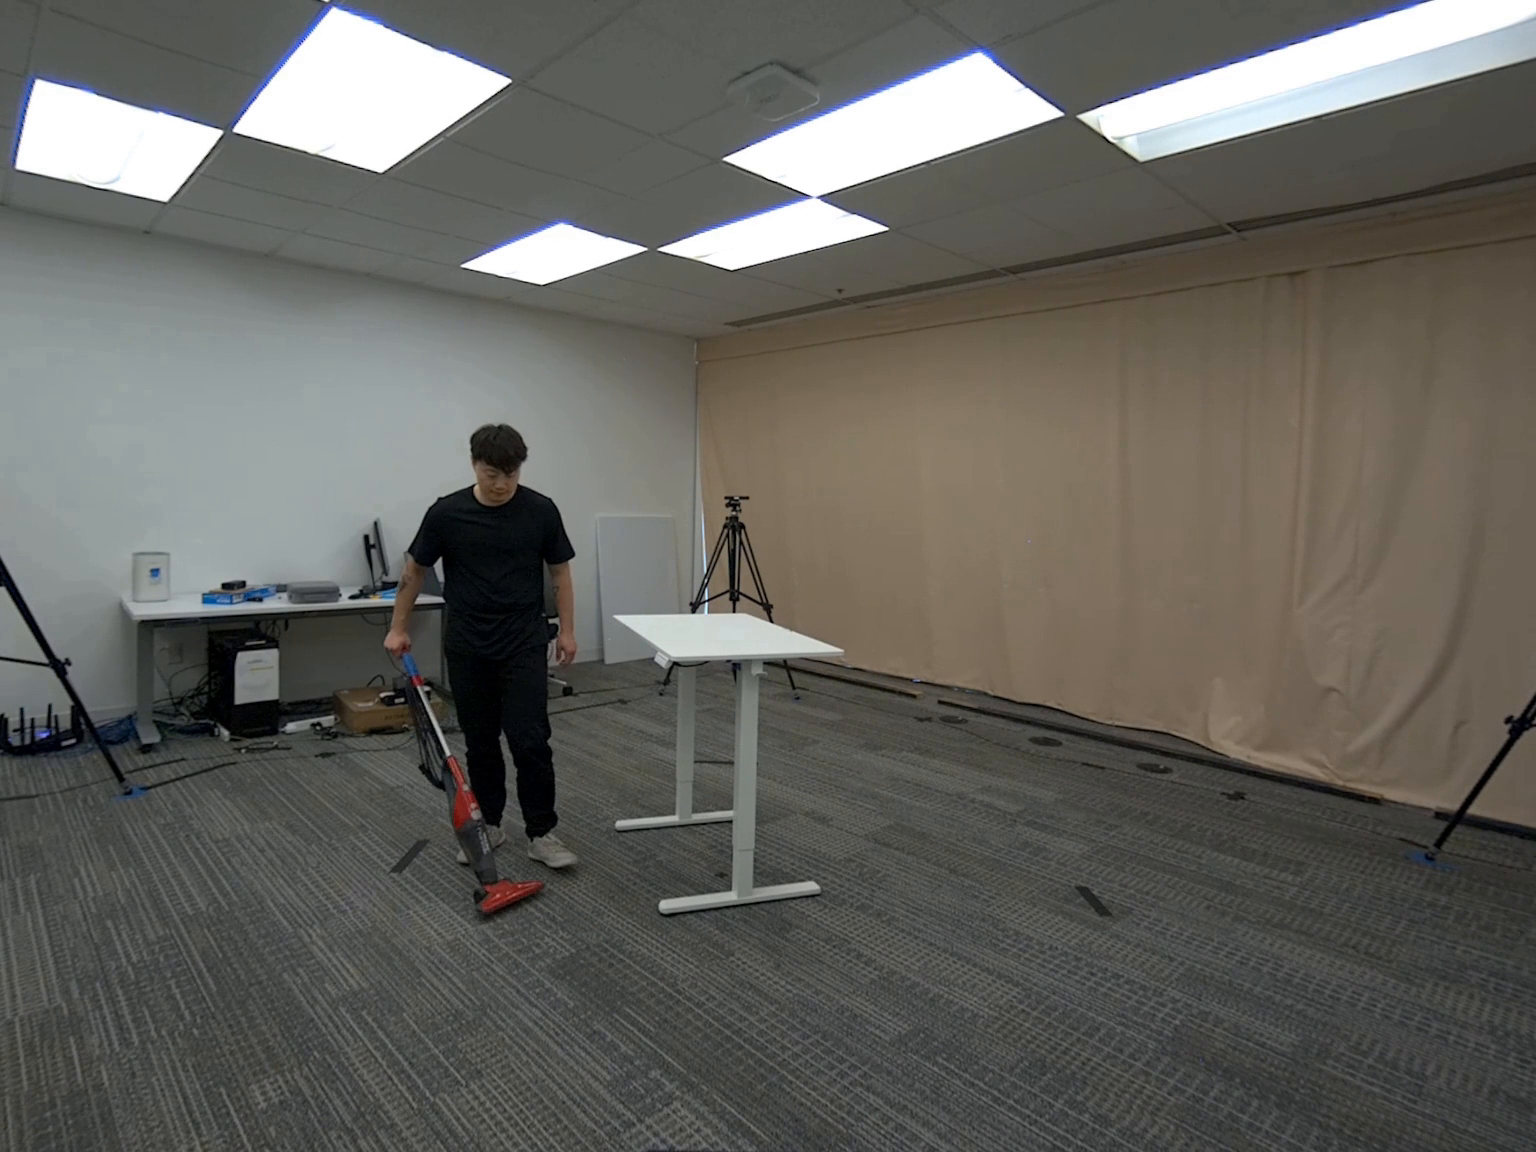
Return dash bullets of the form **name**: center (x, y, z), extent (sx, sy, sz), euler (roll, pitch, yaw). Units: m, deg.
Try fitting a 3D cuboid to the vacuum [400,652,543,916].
- **vacuum**: center (-1.171, 0.702, 3.024), extent (0.247, 0.144, 1.072), euler (-5, 52, -54)
